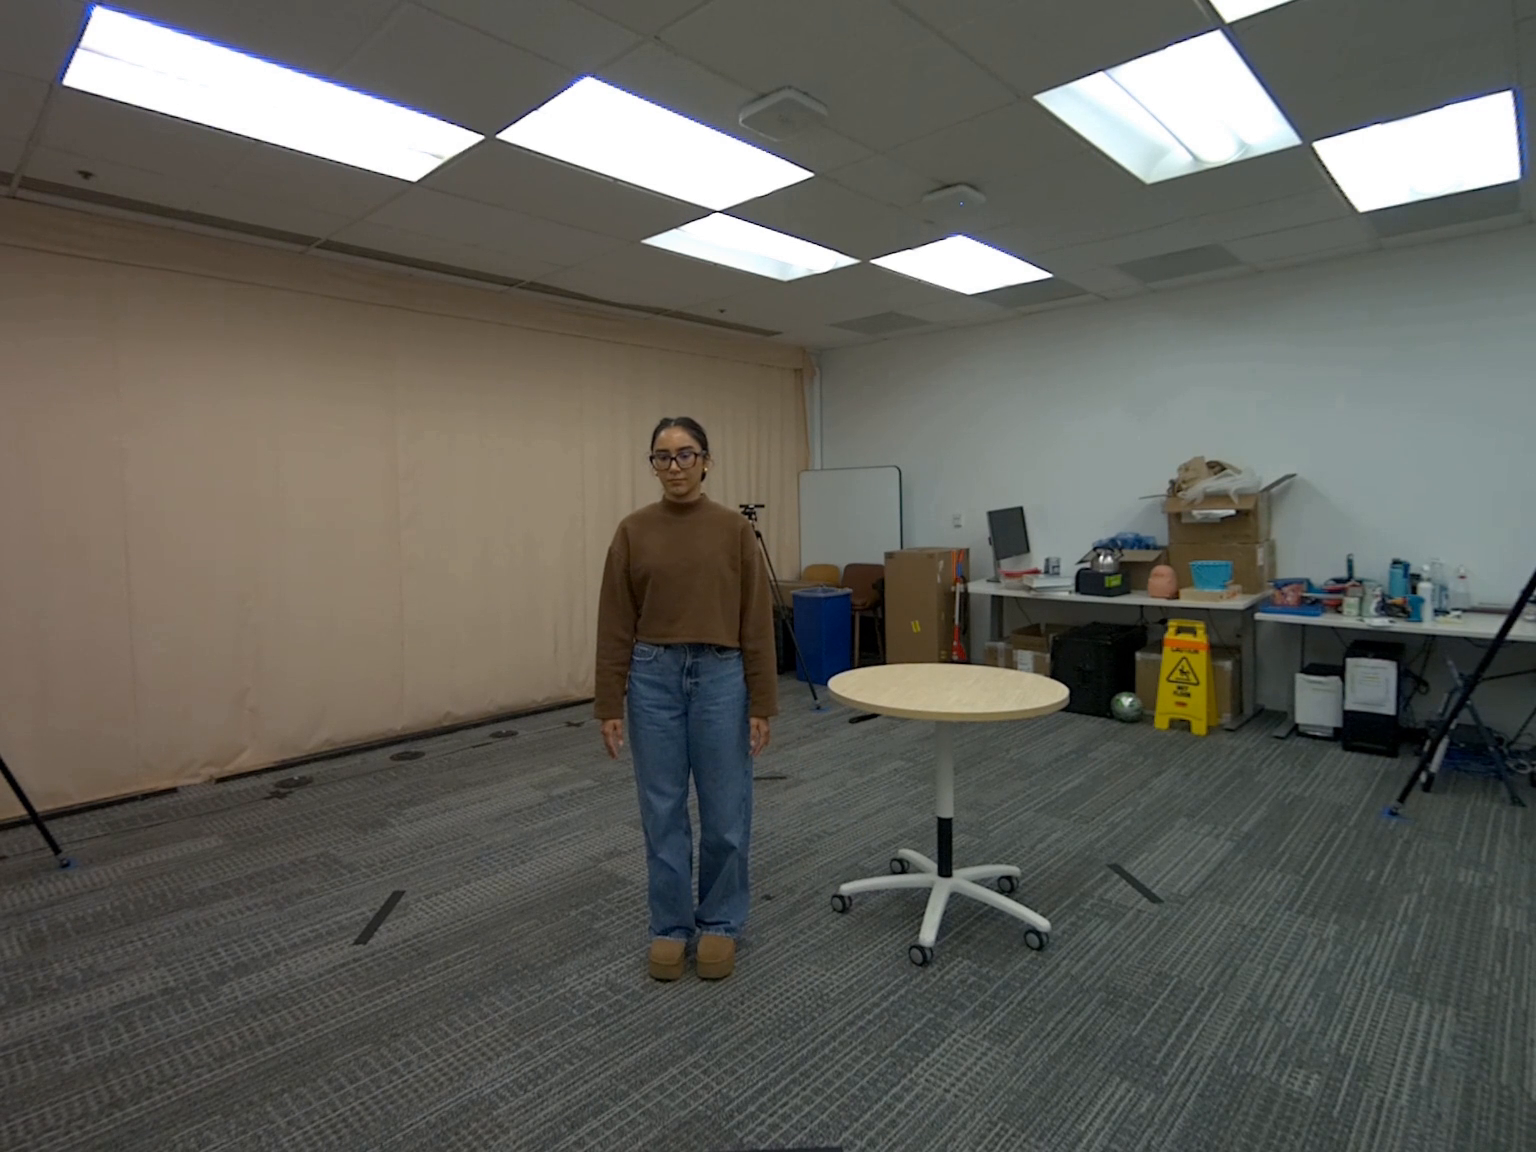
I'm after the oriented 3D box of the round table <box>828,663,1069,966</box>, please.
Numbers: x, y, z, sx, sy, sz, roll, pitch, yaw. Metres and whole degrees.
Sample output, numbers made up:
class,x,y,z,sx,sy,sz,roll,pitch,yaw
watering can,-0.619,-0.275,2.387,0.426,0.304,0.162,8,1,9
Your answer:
class,x,y,z,sx,sy,sz,roll,pitch,yaw
round table,0.608,0.752,2.815,0.784,0.785,0.788,-1,4,-2
